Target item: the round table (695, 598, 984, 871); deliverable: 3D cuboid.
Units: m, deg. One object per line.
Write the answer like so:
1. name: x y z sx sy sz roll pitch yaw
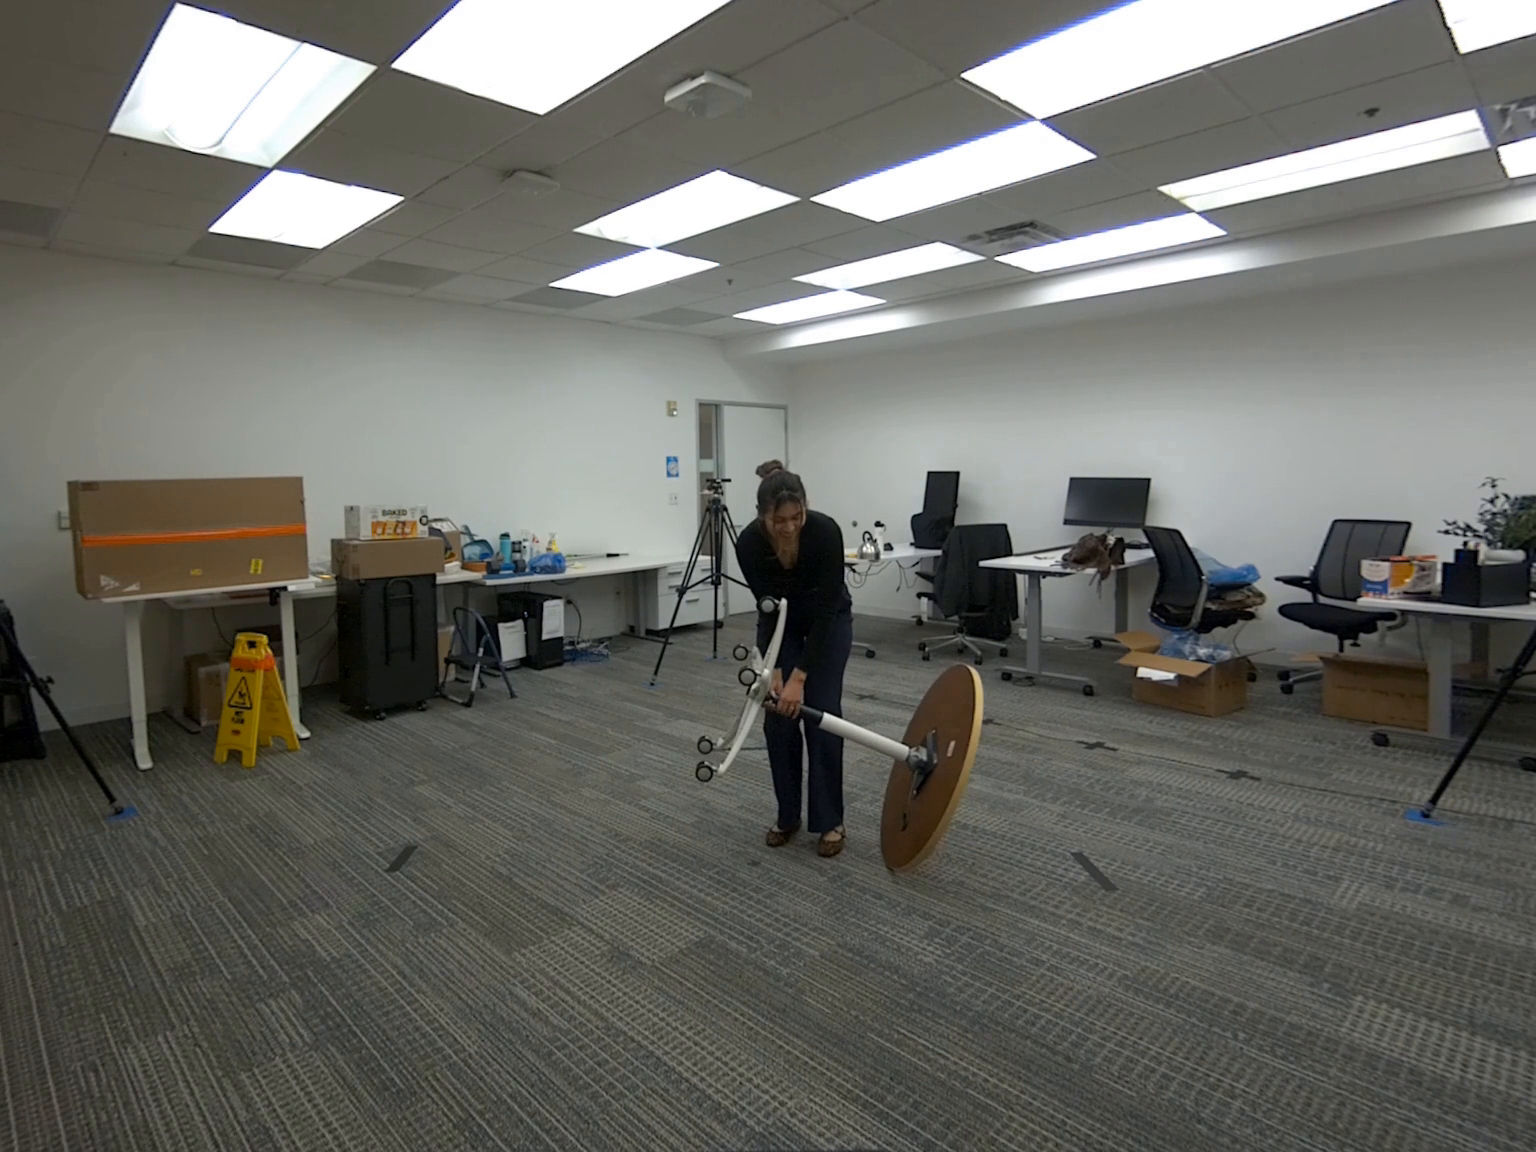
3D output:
1. round table: 0.226 0.533 3.085 0.793 0.762 0.766 22 4 -2
